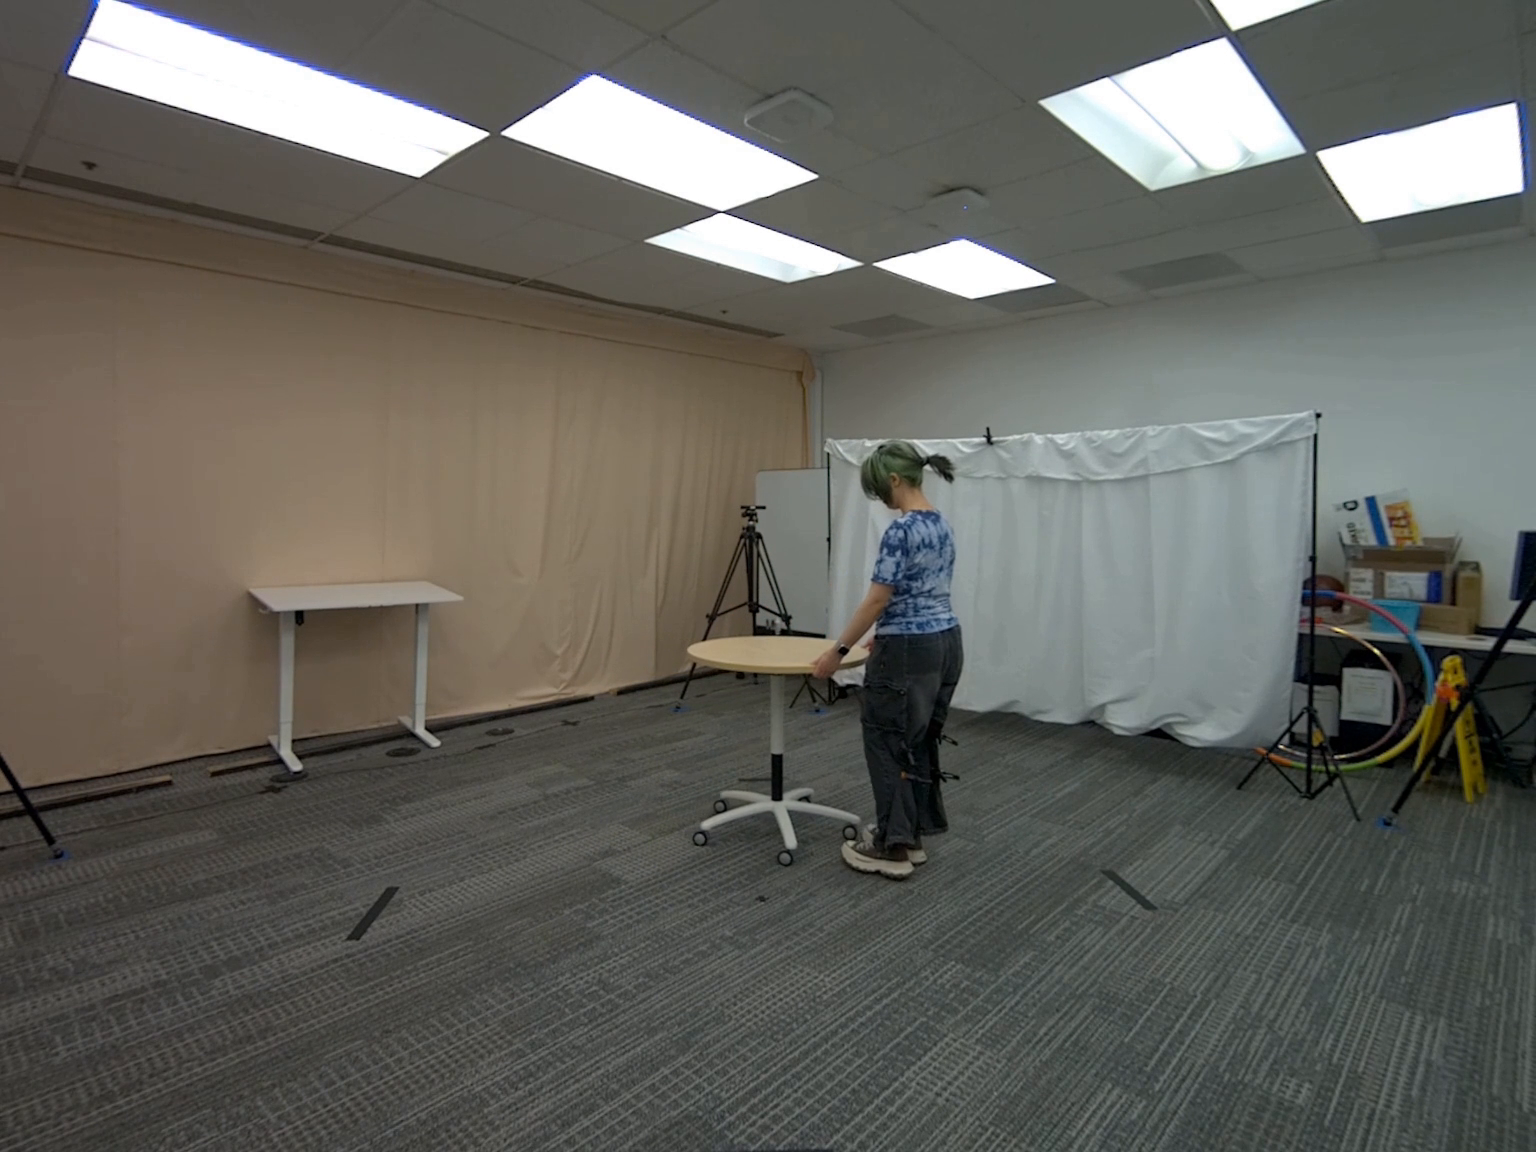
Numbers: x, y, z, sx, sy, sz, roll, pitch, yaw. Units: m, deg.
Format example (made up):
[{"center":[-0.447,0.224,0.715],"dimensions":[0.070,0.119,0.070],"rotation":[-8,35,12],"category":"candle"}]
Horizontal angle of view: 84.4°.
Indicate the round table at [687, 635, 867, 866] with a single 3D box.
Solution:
[{"center":[0.031,0.704,3.572],"dimensions":[0.763,0.792,0.766],"rotation":[1,3,-2],"category":"round table"}]
